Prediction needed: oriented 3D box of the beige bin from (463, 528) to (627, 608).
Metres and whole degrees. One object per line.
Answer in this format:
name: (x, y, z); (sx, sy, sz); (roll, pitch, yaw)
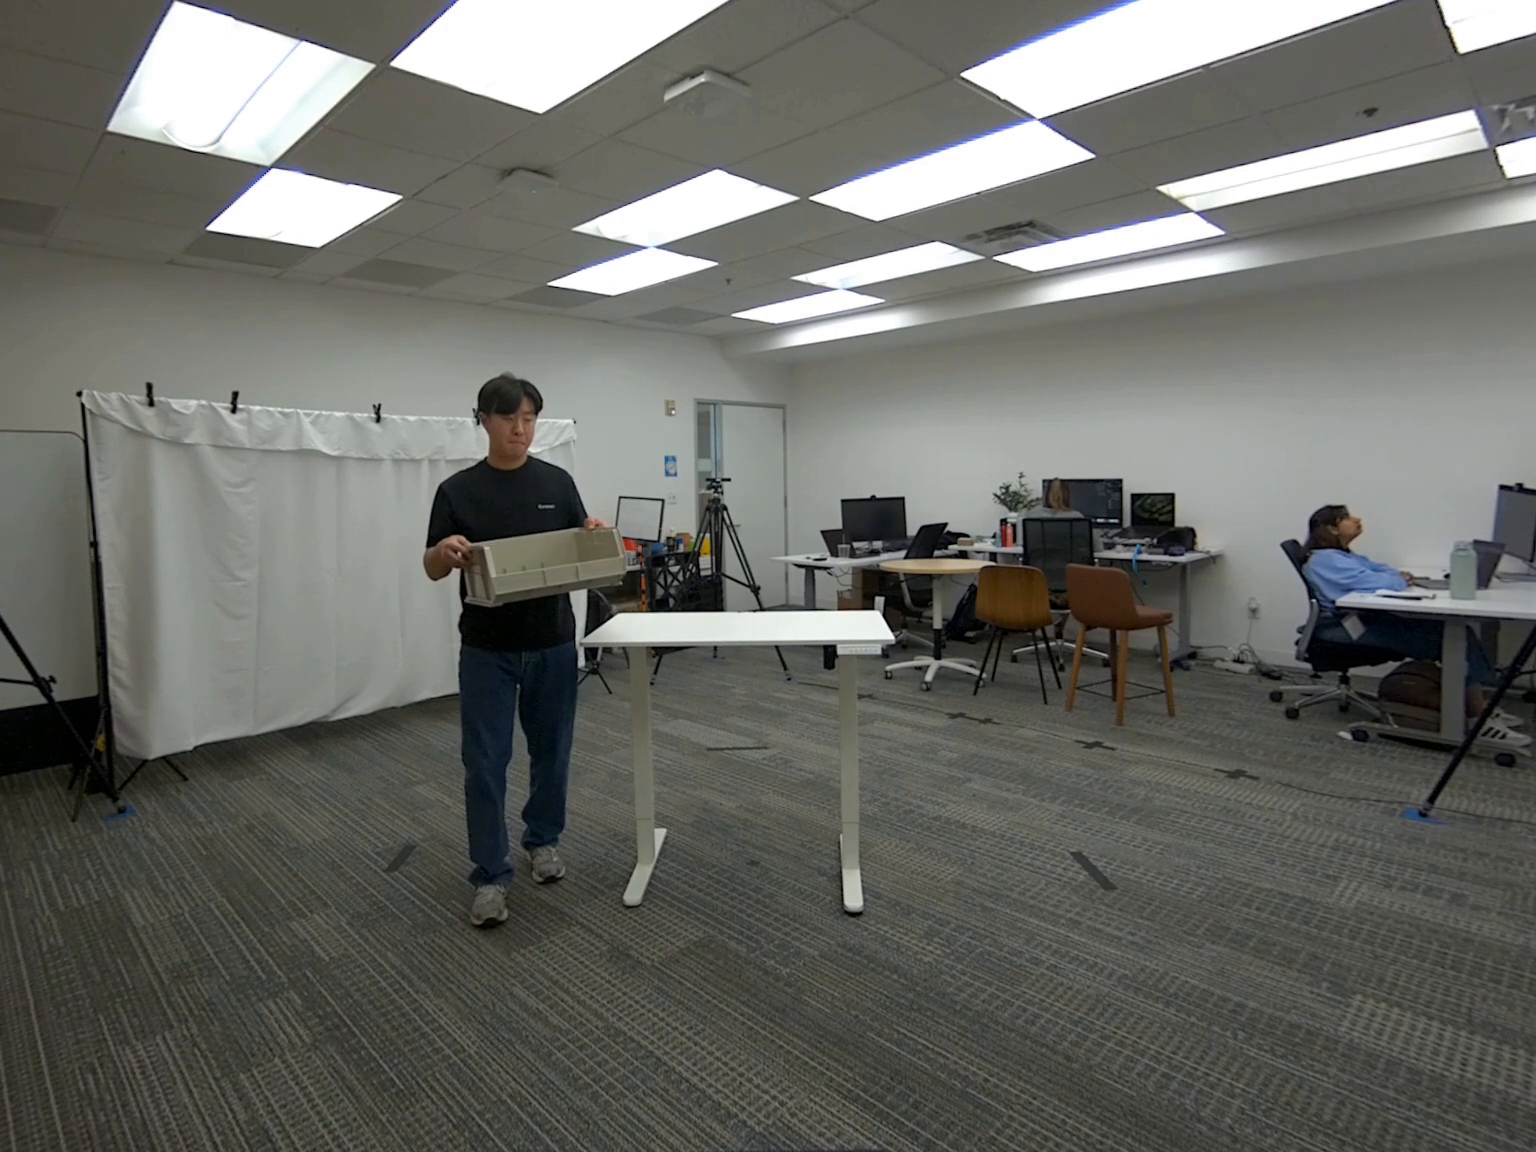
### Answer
beige bin: (-0.707, -0.033, 2.650); (0.414, 0.188, 0.386); (-11, 6, -30)
